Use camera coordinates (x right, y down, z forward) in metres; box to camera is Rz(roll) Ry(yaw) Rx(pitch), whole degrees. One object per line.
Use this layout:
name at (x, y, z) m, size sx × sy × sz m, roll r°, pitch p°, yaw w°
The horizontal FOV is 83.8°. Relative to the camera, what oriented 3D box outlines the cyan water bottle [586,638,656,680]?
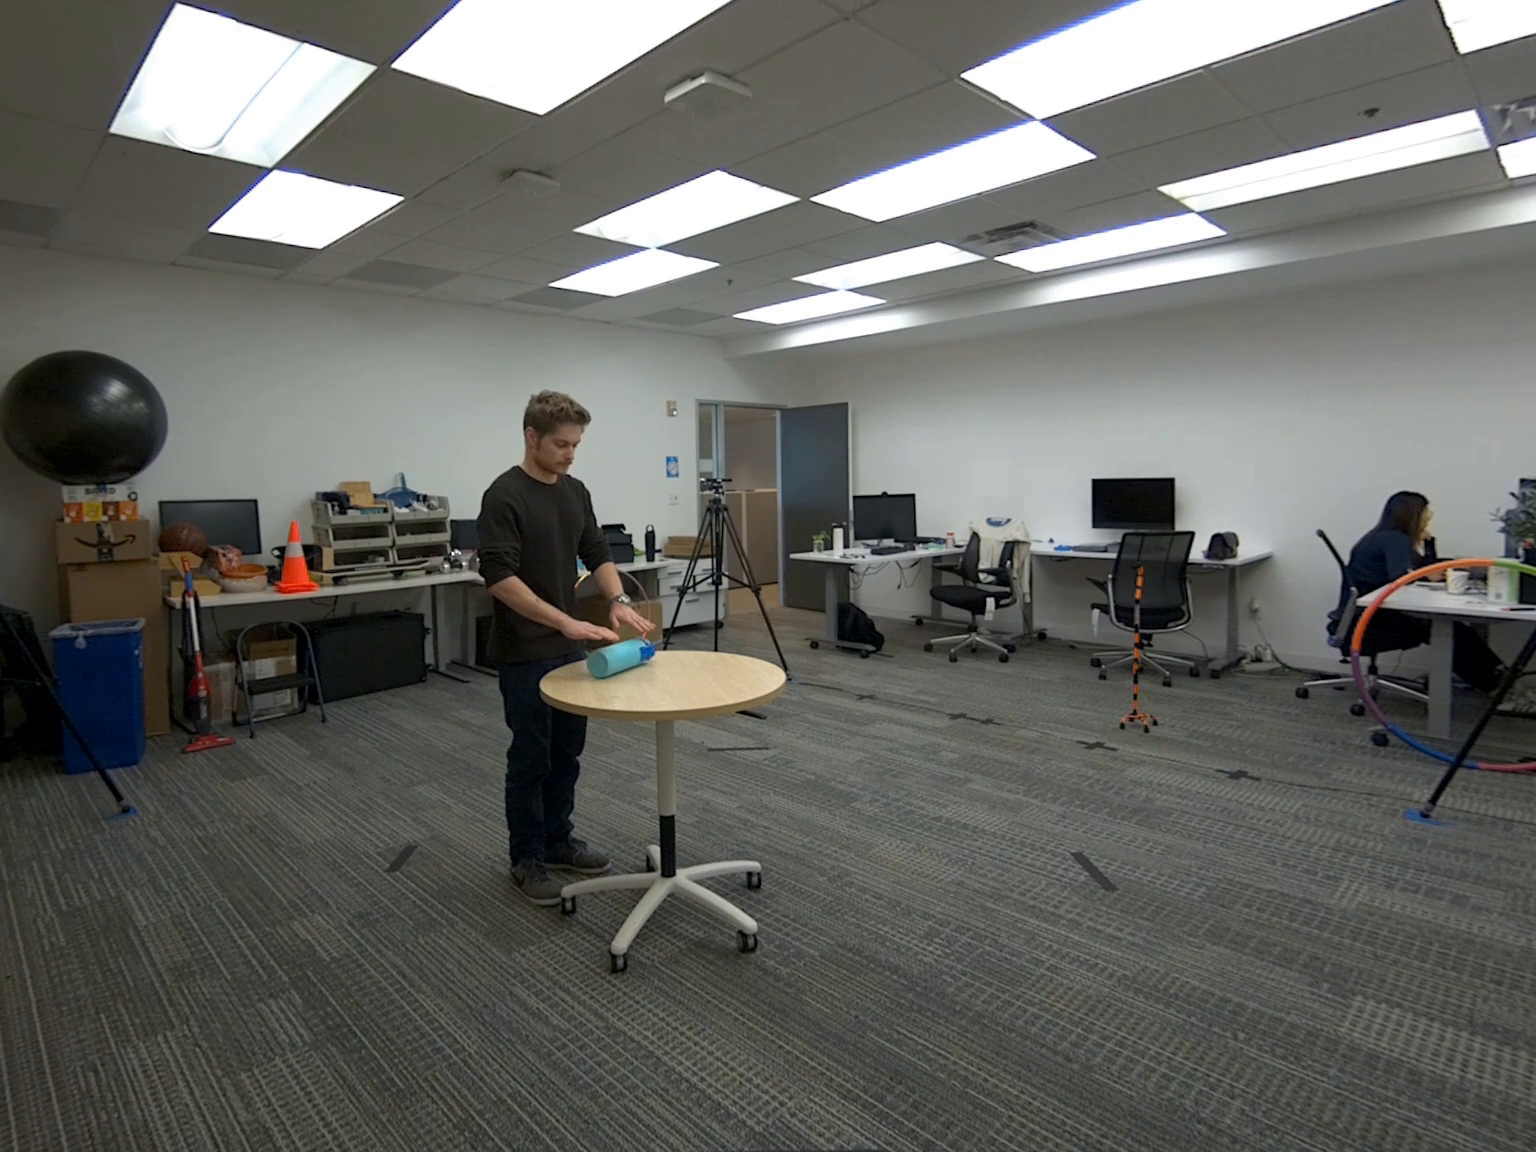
cyan water bottle at (-0.466, 0.259, 2.777) m, size 0.094 × 0.092 × 0.277 m, roll 2°, pitch 6°, yaw 27°
